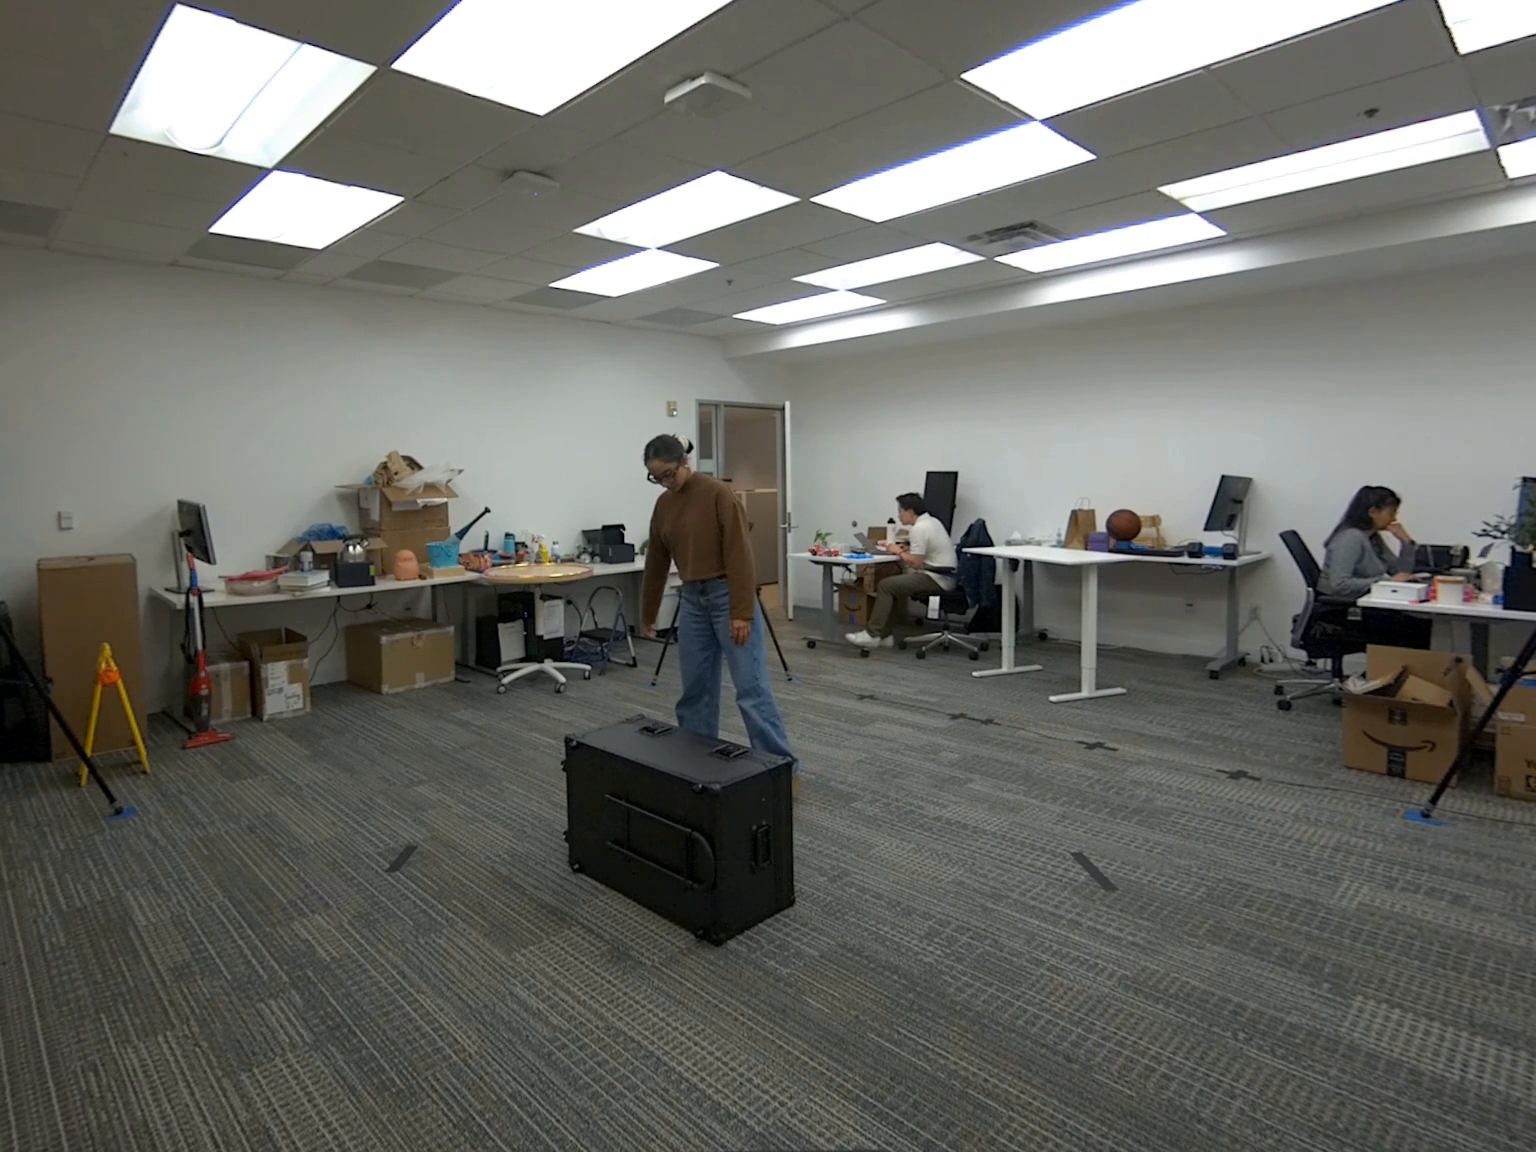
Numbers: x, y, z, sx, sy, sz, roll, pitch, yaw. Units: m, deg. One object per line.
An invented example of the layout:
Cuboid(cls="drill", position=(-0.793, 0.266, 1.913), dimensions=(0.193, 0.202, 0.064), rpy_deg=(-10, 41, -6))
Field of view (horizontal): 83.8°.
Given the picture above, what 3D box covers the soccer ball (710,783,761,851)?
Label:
Cuboid(cls="soccer ball", position=(-0.129, 0.925, 3.313), dimensions=(0.187, 0.187, 0.188), rpy_deg=(-1, 5, -2))
